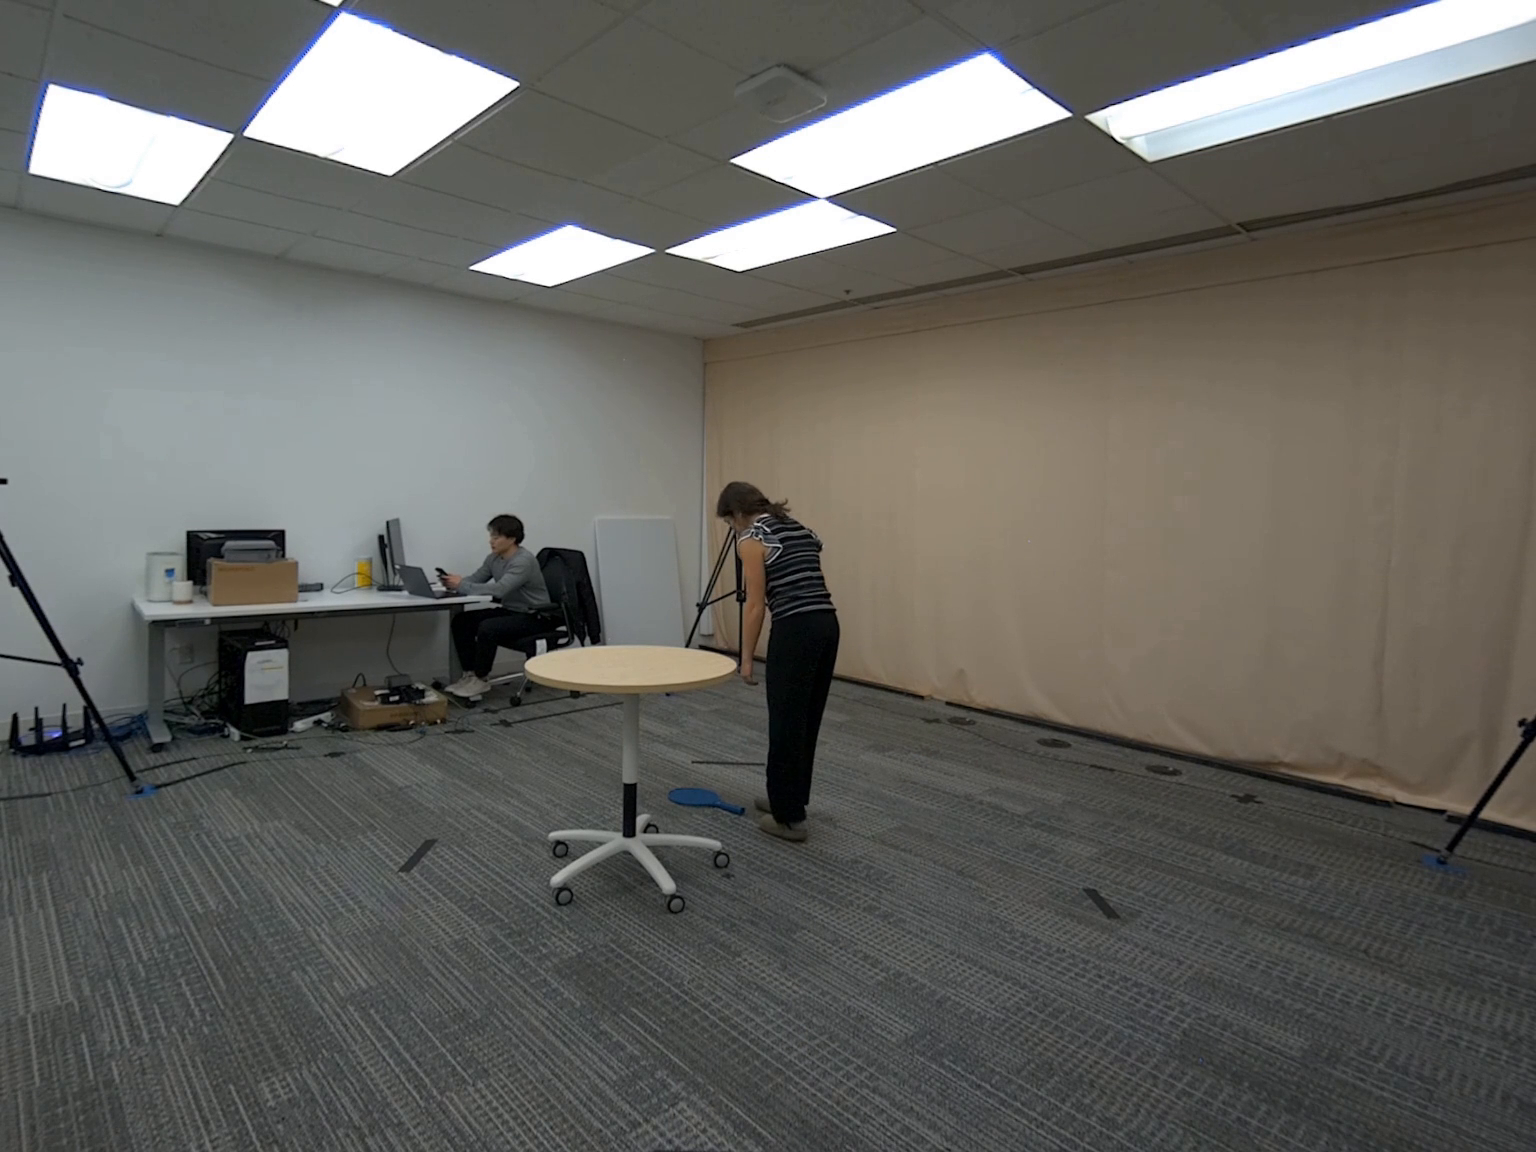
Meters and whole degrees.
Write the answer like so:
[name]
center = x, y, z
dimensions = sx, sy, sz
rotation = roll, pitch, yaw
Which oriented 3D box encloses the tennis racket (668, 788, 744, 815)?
[tennis racket]
center = -0.286, 1.024, 3.855
dimensions = 0.443, 0.032, 0.209
rotation = 4, 5, 39
